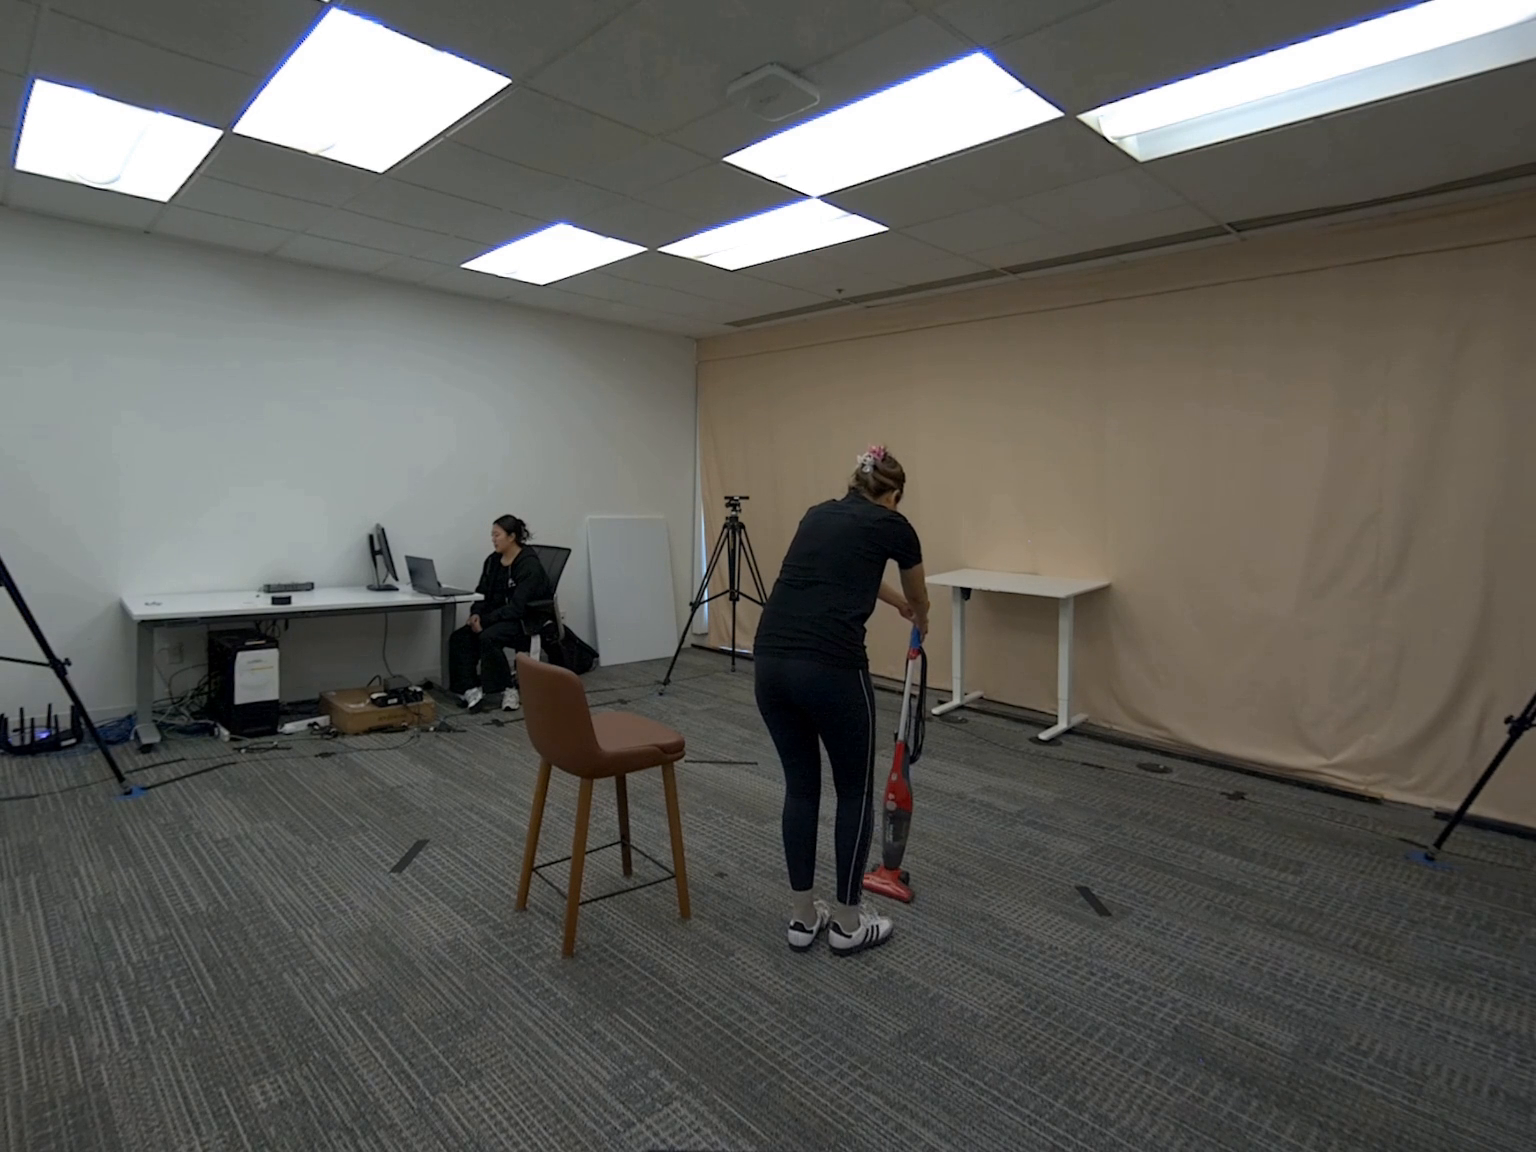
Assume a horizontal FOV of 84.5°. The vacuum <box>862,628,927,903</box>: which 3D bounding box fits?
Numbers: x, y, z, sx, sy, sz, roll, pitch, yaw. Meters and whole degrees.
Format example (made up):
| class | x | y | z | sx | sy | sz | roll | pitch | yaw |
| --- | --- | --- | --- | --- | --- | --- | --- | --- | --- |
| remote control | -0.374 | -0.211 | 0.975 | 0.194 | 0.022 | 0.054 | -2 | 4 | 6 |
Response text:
| class | x | y | z | sx | sy | sz | roll | pitch | yaw |
| --- | --- | --- | --- | --- | --- | --- | --- | --- | --- |
| vacuum | 0.512 | 0.617 | 3.136 | 0.259 | 1.056 | 0.139 | 2 | -15 | 38 |
